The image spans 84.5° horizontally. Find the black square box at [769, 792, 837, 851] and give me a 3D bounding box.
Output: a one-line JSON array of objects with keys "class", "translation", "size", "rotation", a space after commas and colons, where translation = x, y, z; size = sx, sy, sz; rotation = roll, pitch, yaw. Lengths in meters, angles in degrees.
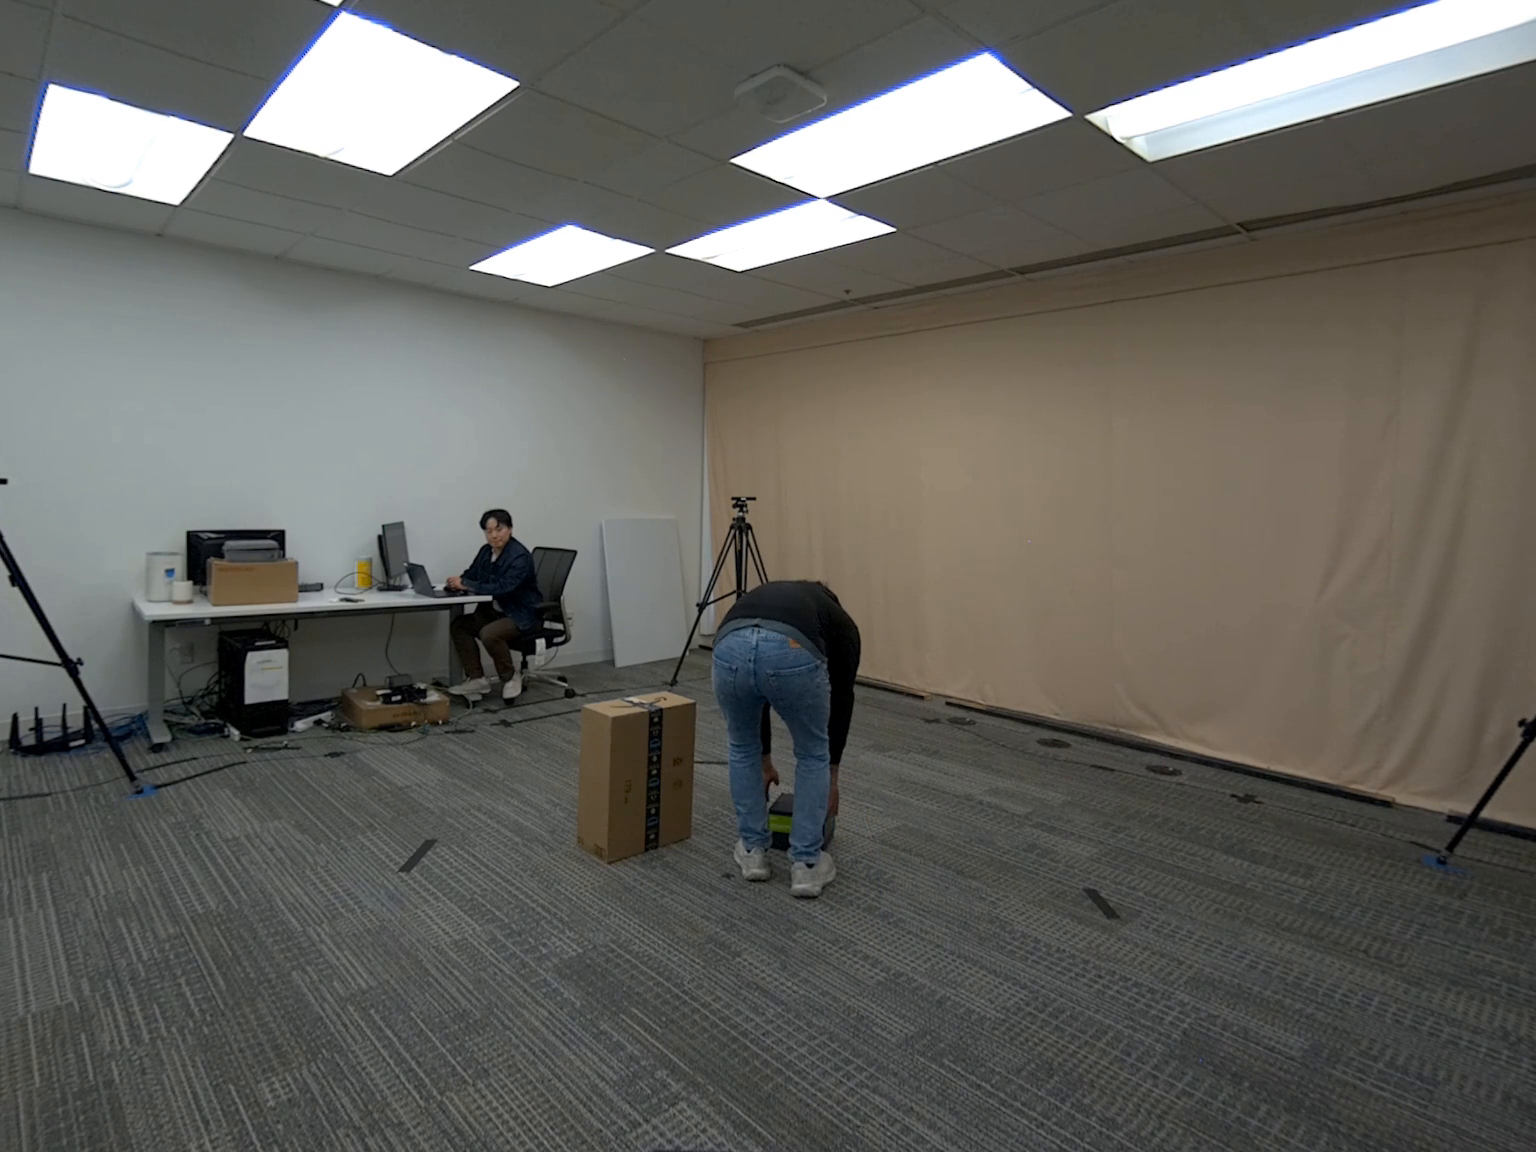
[{"class": "black square box", "translation": [0.129, 0.999, 3.440], "size": [0.231, 0.155, 0.214], "rotation": [4, 5, 17]}]
